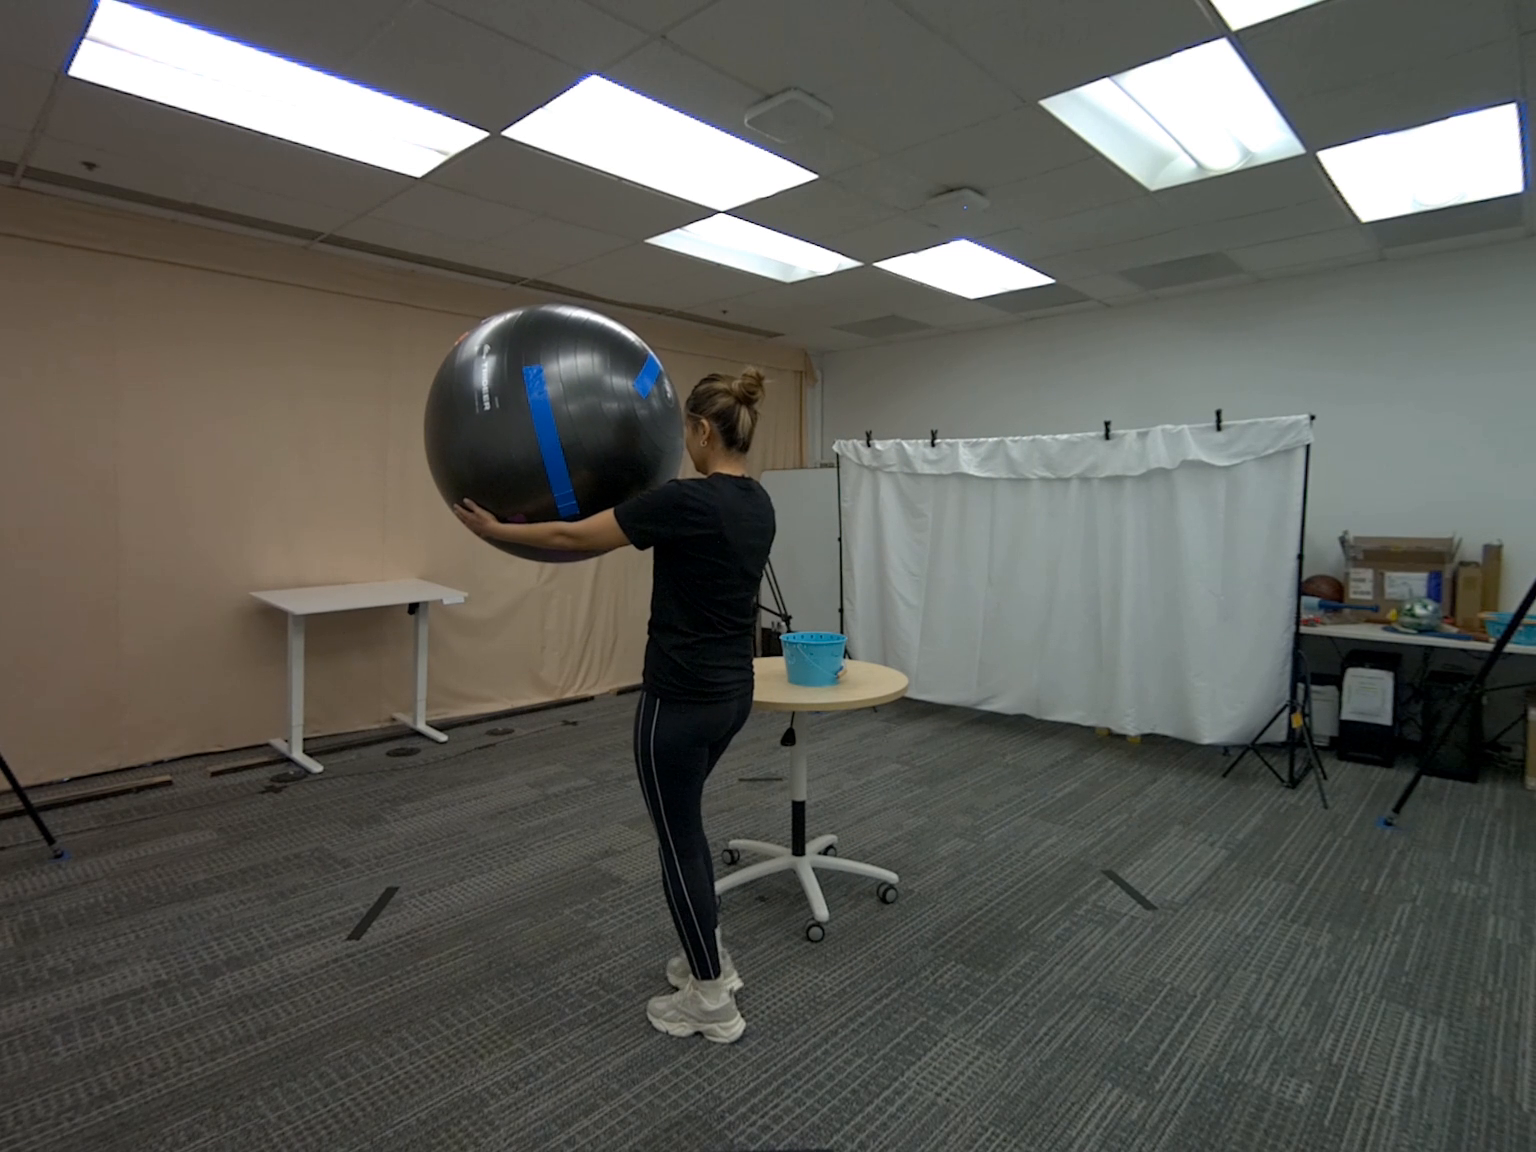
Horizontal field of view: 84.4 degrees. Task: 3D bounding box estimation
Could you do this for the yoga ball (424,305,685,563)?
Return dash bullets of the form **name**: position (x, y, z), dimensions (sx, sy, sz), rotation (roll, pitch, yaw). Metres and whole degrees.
- **yoga ball**: position (-0.629, -0.413, 2.507), dimensions (0.757, 0.756, 0.761), rotation (0, 4, -2)
